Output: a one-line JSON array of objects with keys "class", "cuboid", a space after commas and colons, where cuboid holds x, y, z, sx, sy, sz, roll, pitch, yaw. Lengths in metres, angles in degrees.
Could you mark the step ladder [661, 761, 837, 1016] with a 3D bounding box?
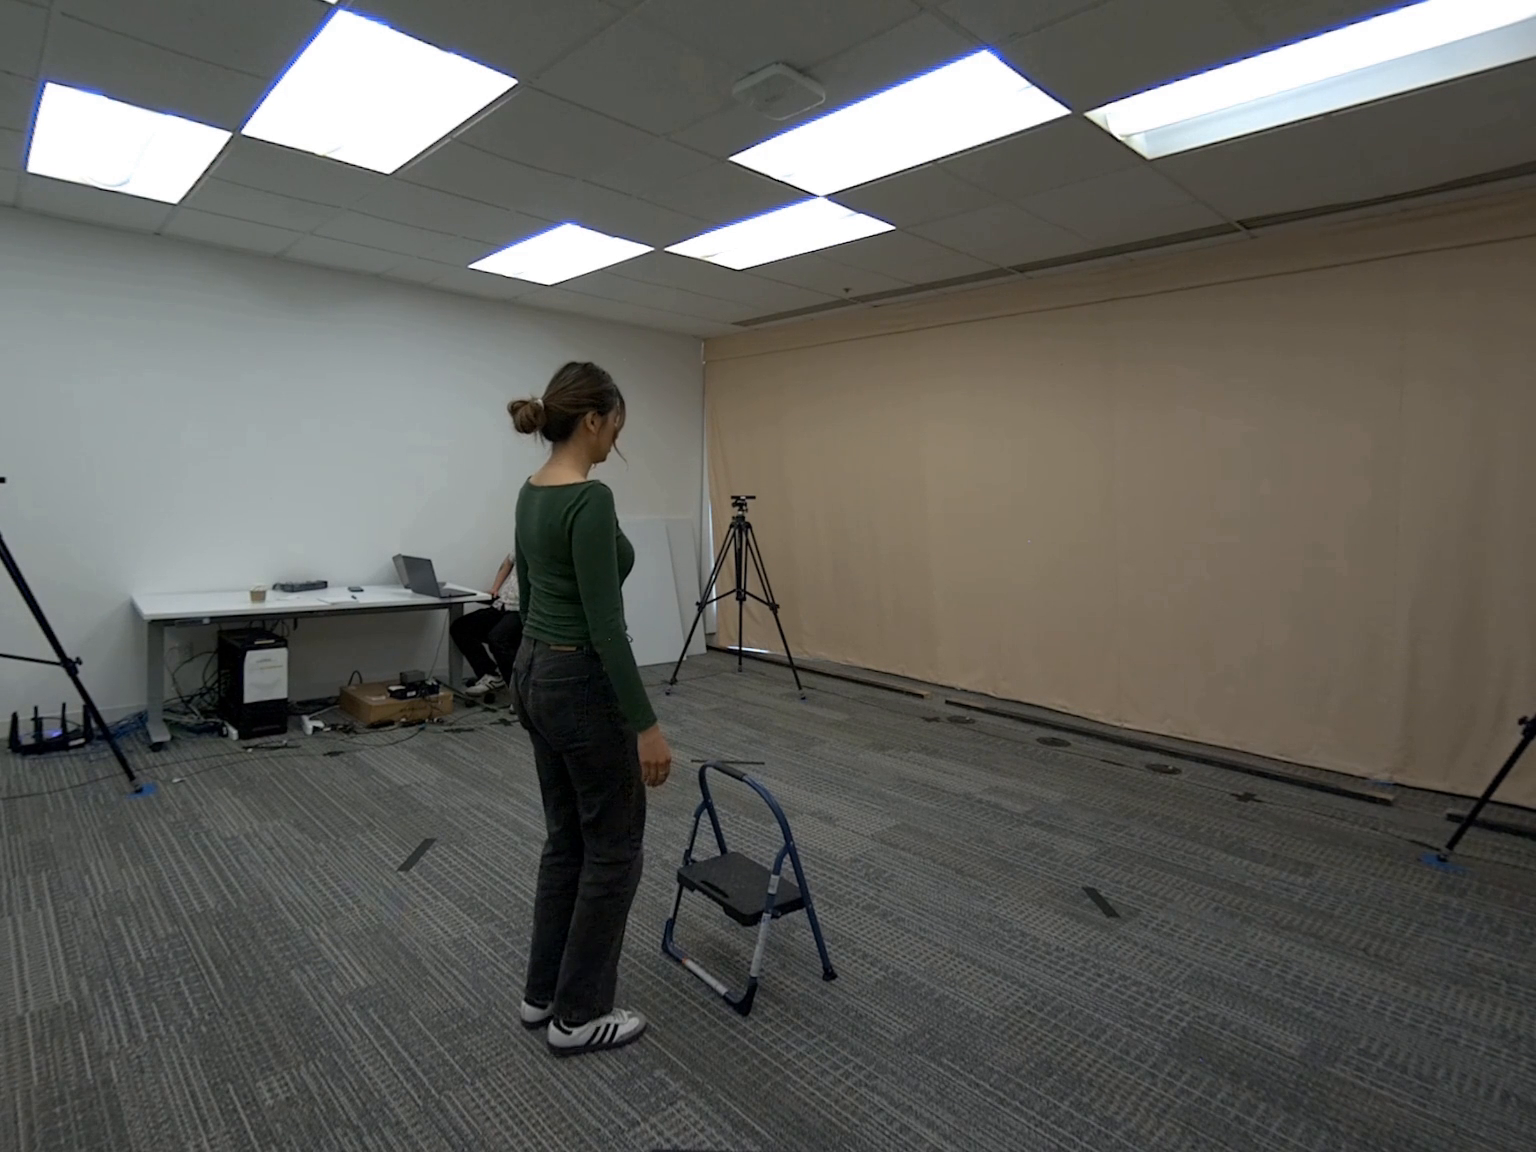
[{"class": "step ladder", "cuboid": [-0.062, 0.856, 2.497, 0.341, 0.604, 0.441, -2, 5, -40]}]
